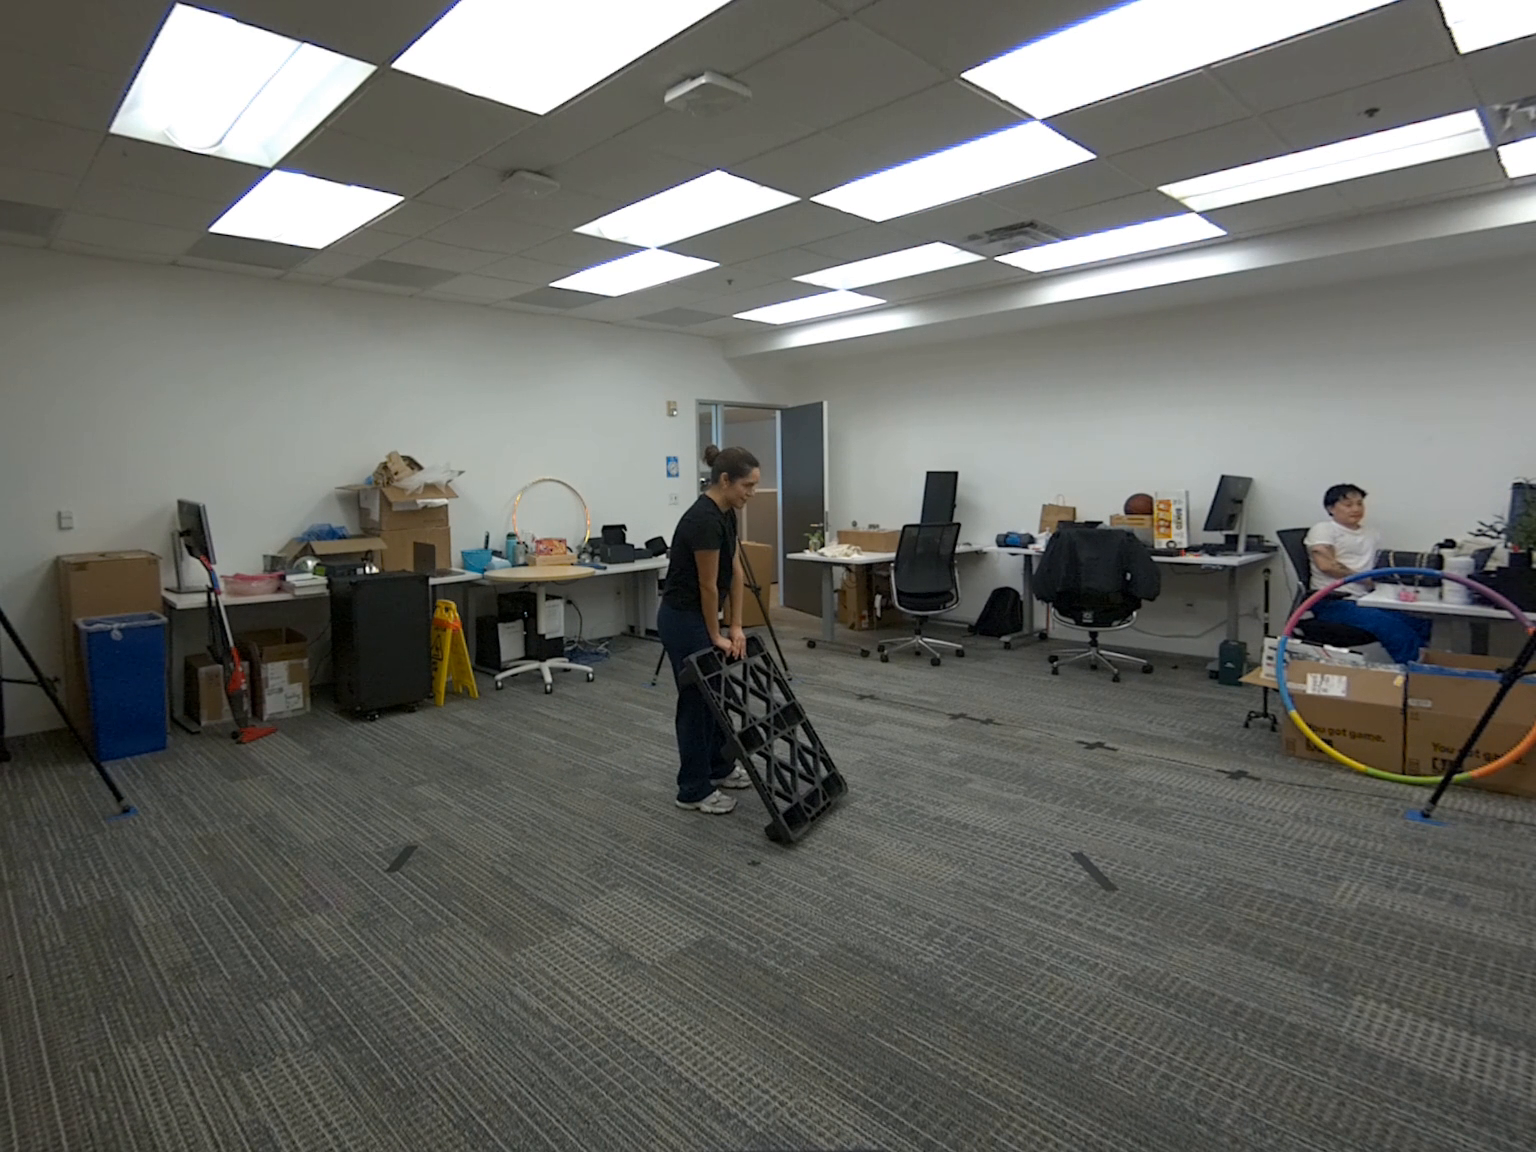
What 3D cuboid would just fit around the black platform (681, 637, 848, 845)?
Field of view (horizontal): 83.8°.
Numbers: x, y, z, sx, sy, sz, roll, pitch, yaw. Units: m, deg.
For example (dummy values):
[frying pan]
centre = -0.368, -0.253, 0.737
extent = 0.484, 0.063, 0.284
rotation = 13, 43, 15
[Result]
[black platform]
centre = -0.027, 0.654, 3.561
extent = 0.144, 0.818, 0.593
rotation = -36, -12, 26
